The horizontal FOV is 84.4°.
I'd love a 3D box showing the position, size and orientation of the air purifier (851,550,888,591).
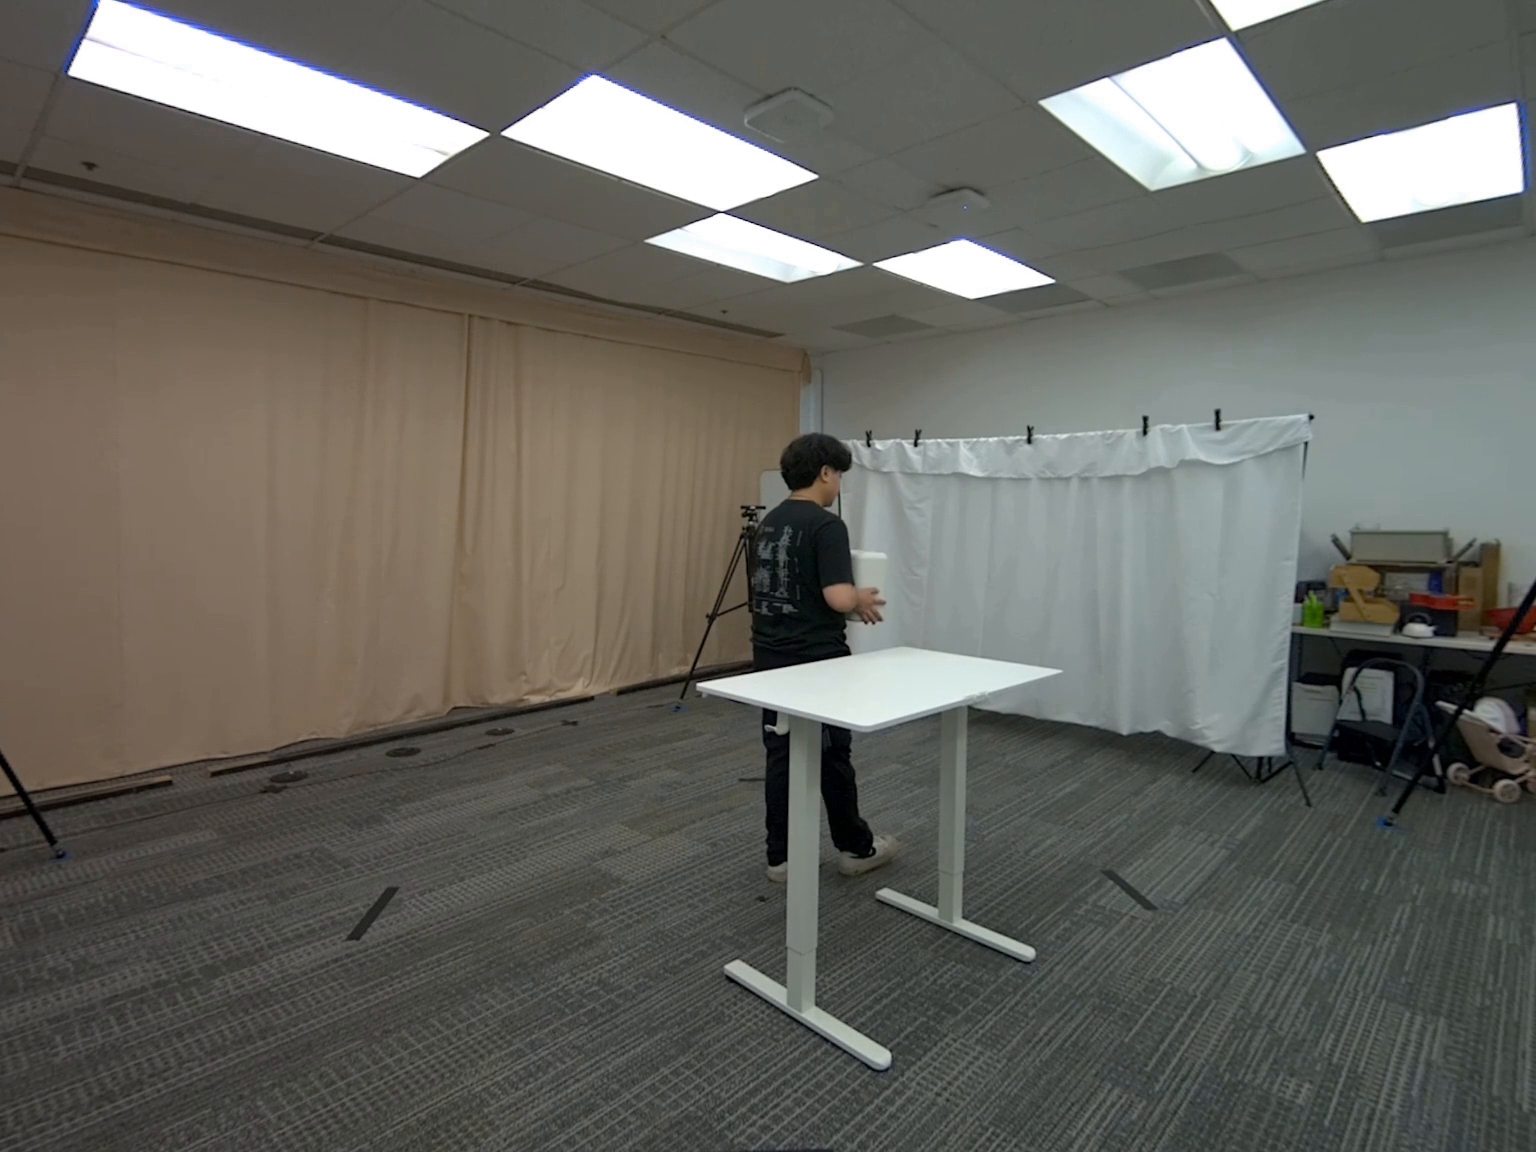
[{"bbox_3d":[0.370,0.033,3.278,0.167,0.265,0.176,1,3,-26],"label":"air purifier"}]
